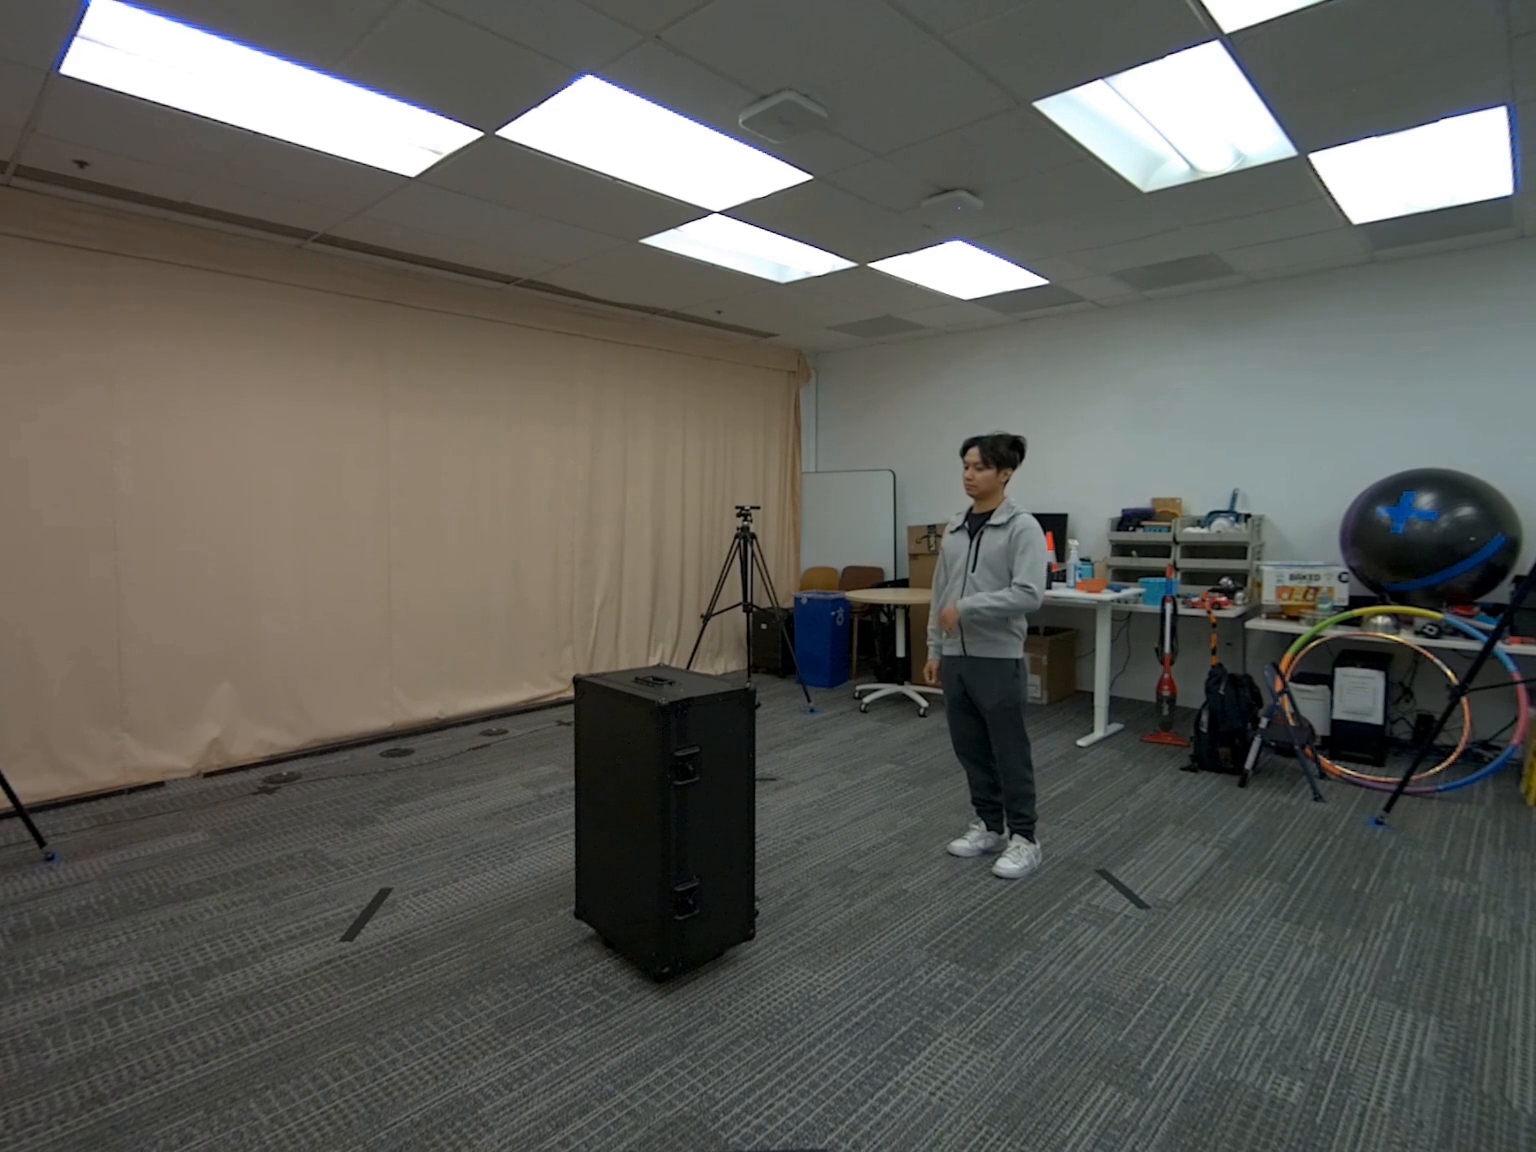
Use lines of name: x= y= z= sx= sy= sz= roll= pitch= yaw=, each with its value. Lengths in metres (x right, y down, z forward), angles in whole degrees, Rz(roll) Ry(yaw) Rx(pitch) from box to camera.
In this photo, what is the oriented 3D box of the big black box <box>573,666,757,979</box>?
big black box: x=-0.324 y=0.751 z=2.641 sx=0.384 sy=0.860 sz=0.538 roll=-1 pitch=3 yaw=-42
